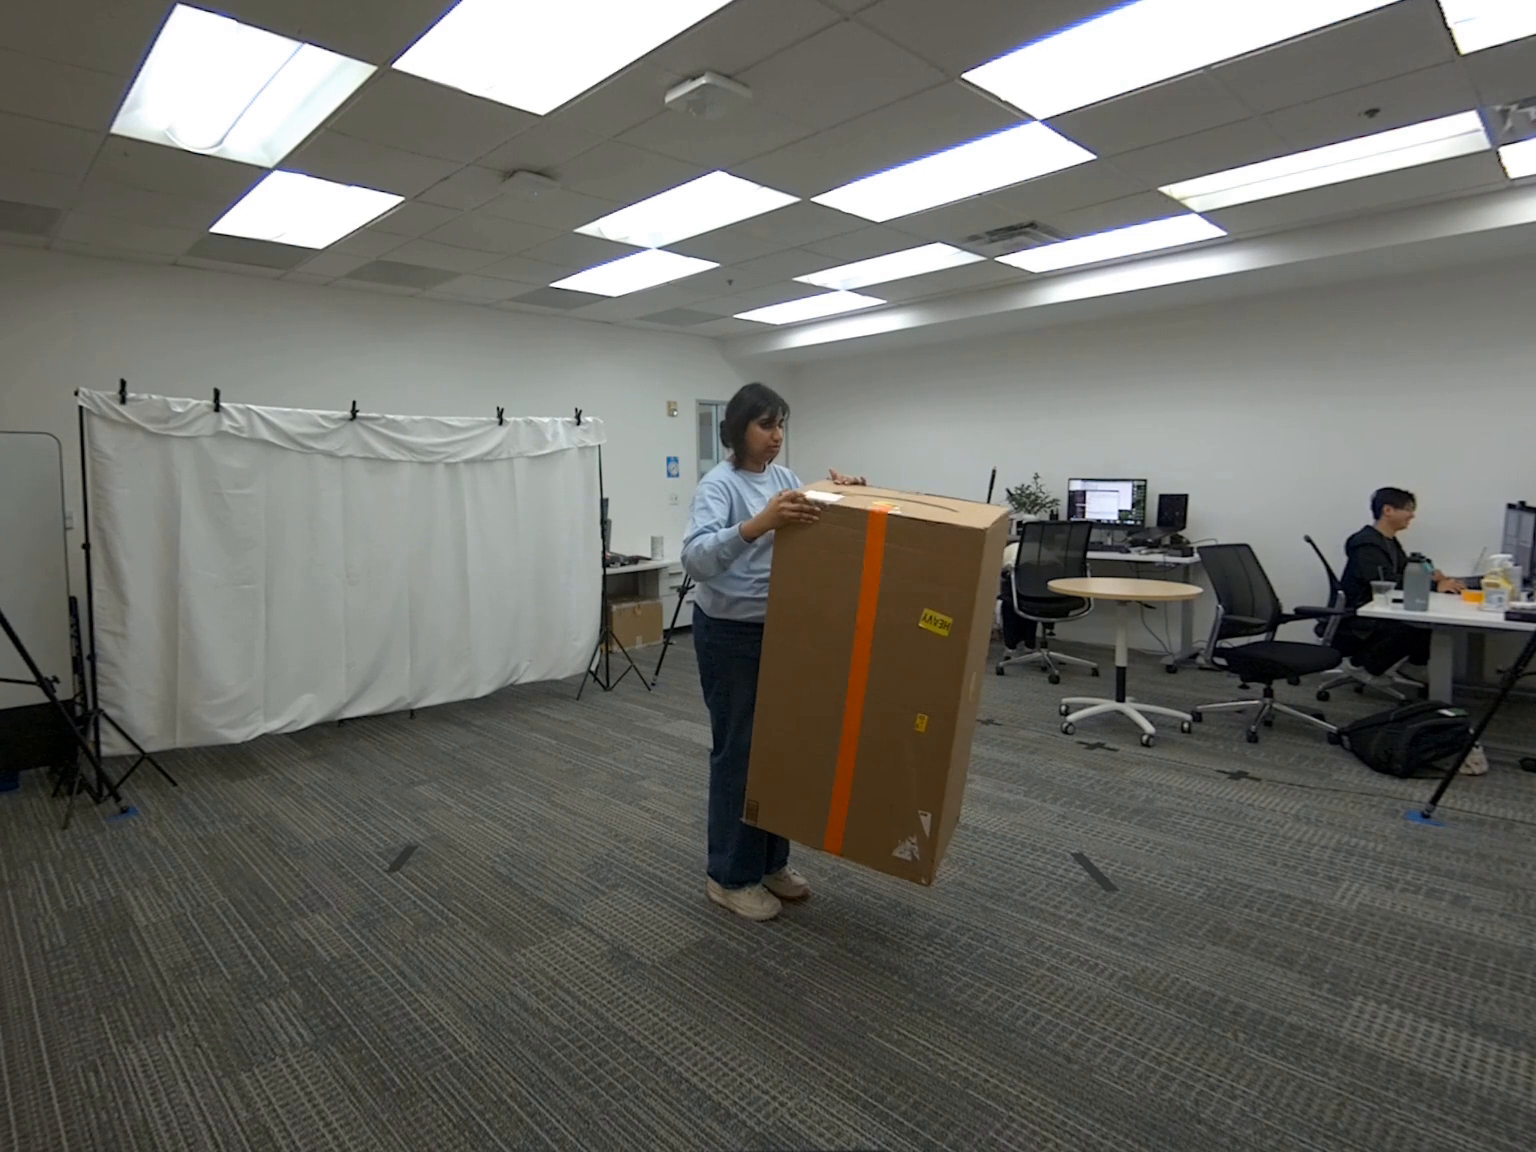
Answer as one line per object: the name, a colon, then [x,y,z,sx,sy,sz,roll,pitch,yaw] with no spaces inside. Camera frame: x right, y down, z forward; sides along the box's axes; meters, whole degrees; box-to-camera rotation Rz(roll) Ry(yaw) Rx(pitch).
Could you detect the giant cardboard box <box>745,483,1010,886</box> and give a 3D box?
giant cardboard box: [0.327,0.272,2.544,0.599,1.017,0.440,11,14,25]
